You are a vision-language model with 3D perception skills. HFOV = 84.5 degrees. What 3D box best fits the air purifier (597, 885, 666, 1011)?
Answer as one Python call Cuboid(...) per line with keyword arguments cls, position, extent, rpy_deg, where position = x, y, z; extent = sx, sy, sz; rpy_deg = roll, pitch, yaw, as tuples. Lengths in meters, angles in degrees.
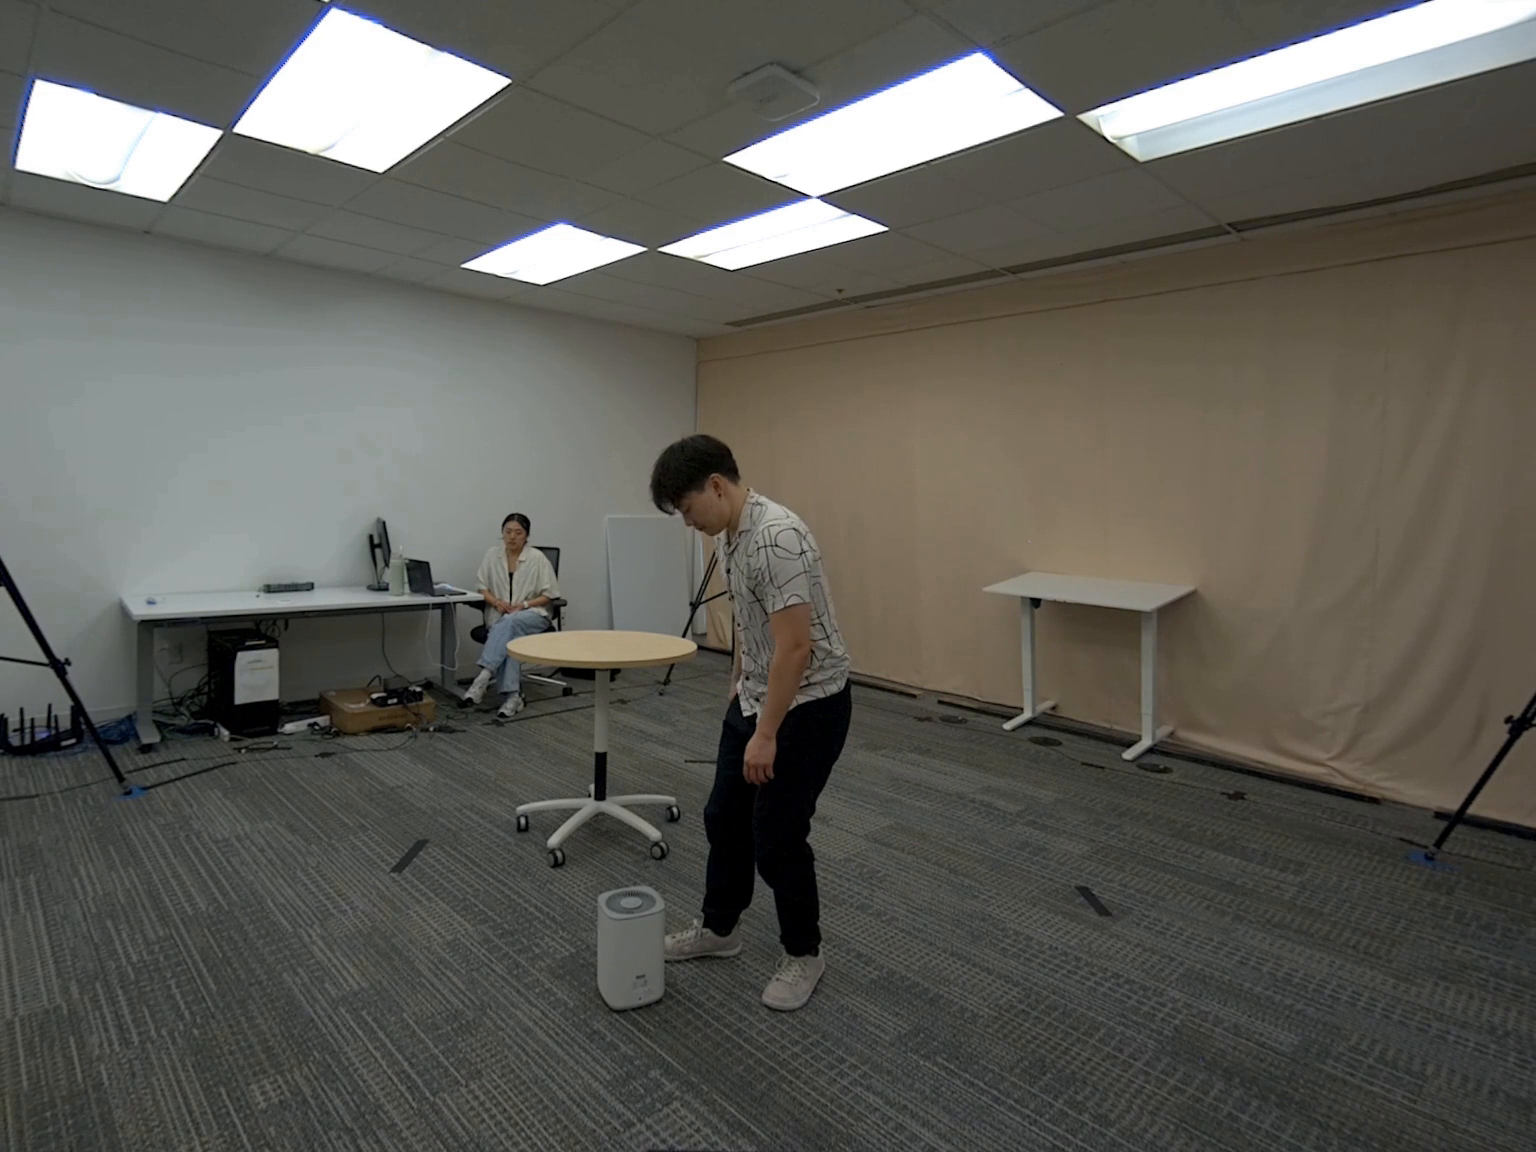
Cuboid(cls="air purifier", position=(-0.381, 1.029, 2.344), extent=(0.168, 0.265, 0.175), rpy_deg=(-1, 4, -28))
